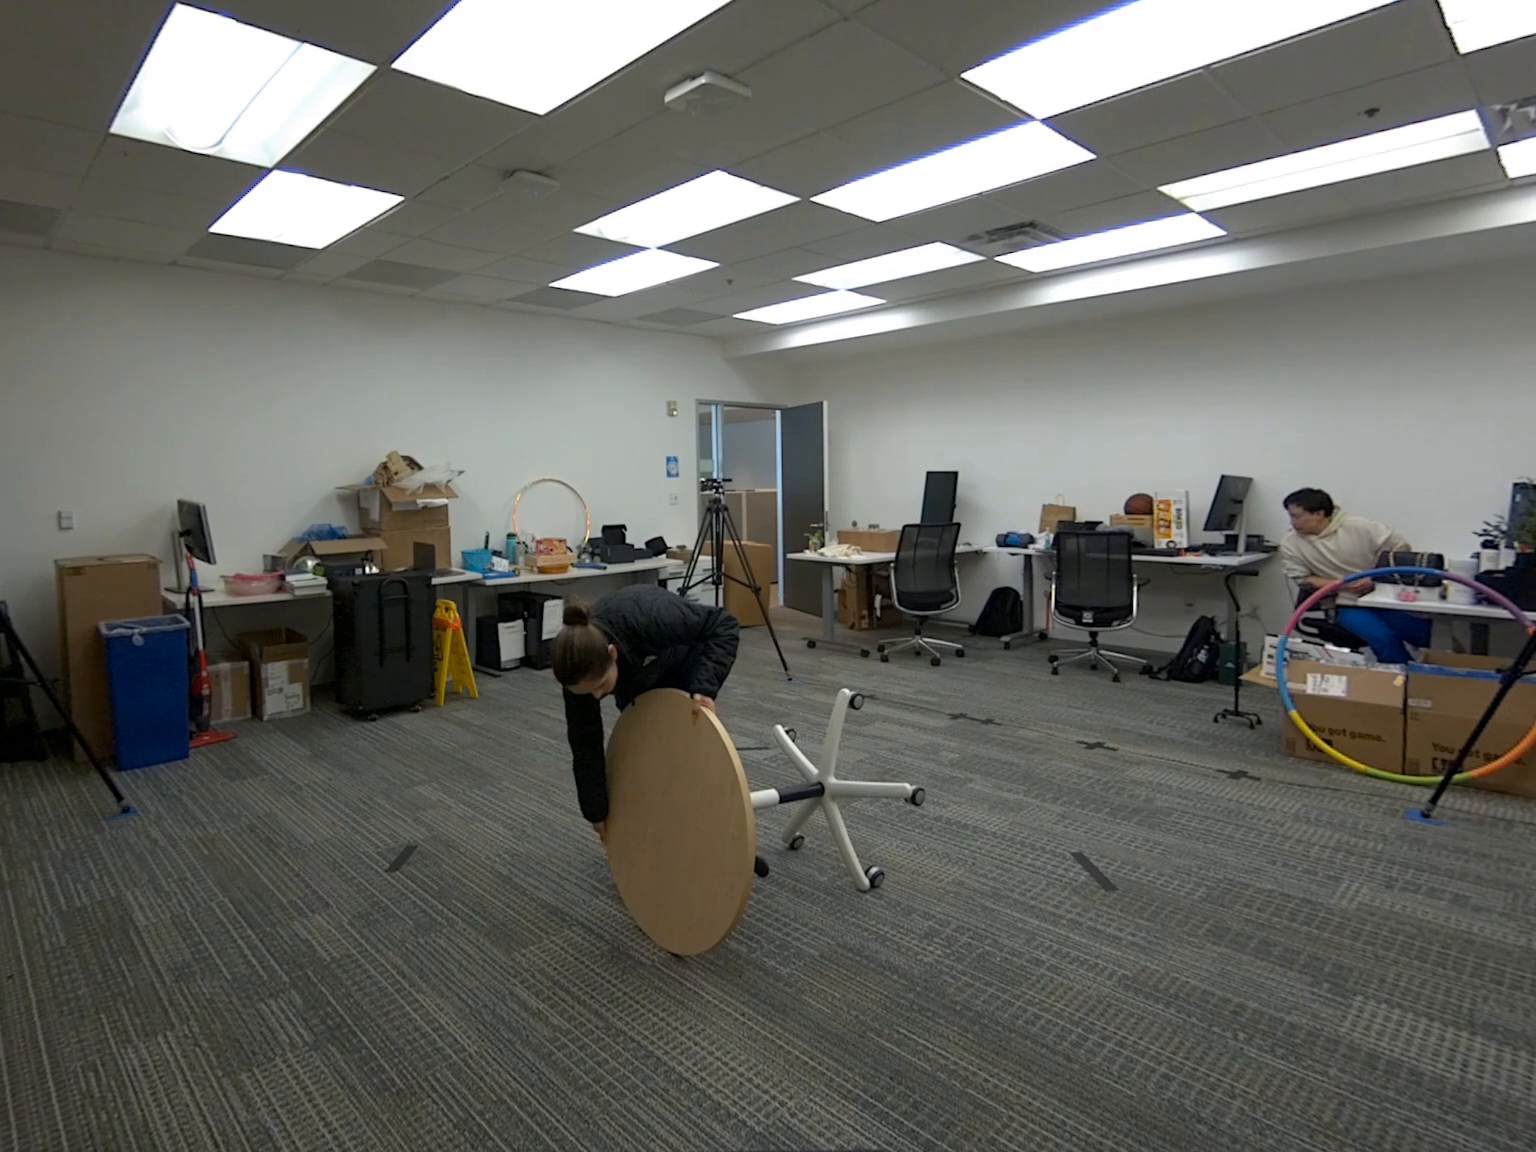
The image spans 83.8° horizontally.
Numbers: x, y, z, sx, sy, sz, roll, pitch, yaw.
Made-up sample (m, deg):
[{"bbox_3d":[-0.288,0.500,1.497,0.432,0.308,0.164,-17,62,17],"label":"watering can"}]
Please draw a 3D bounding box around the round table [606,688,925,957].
[{"bbox_3d":[-0.001,0.748,2.825,0.763,0.785,0.809,3,1,-41],"label":"round table"}]
